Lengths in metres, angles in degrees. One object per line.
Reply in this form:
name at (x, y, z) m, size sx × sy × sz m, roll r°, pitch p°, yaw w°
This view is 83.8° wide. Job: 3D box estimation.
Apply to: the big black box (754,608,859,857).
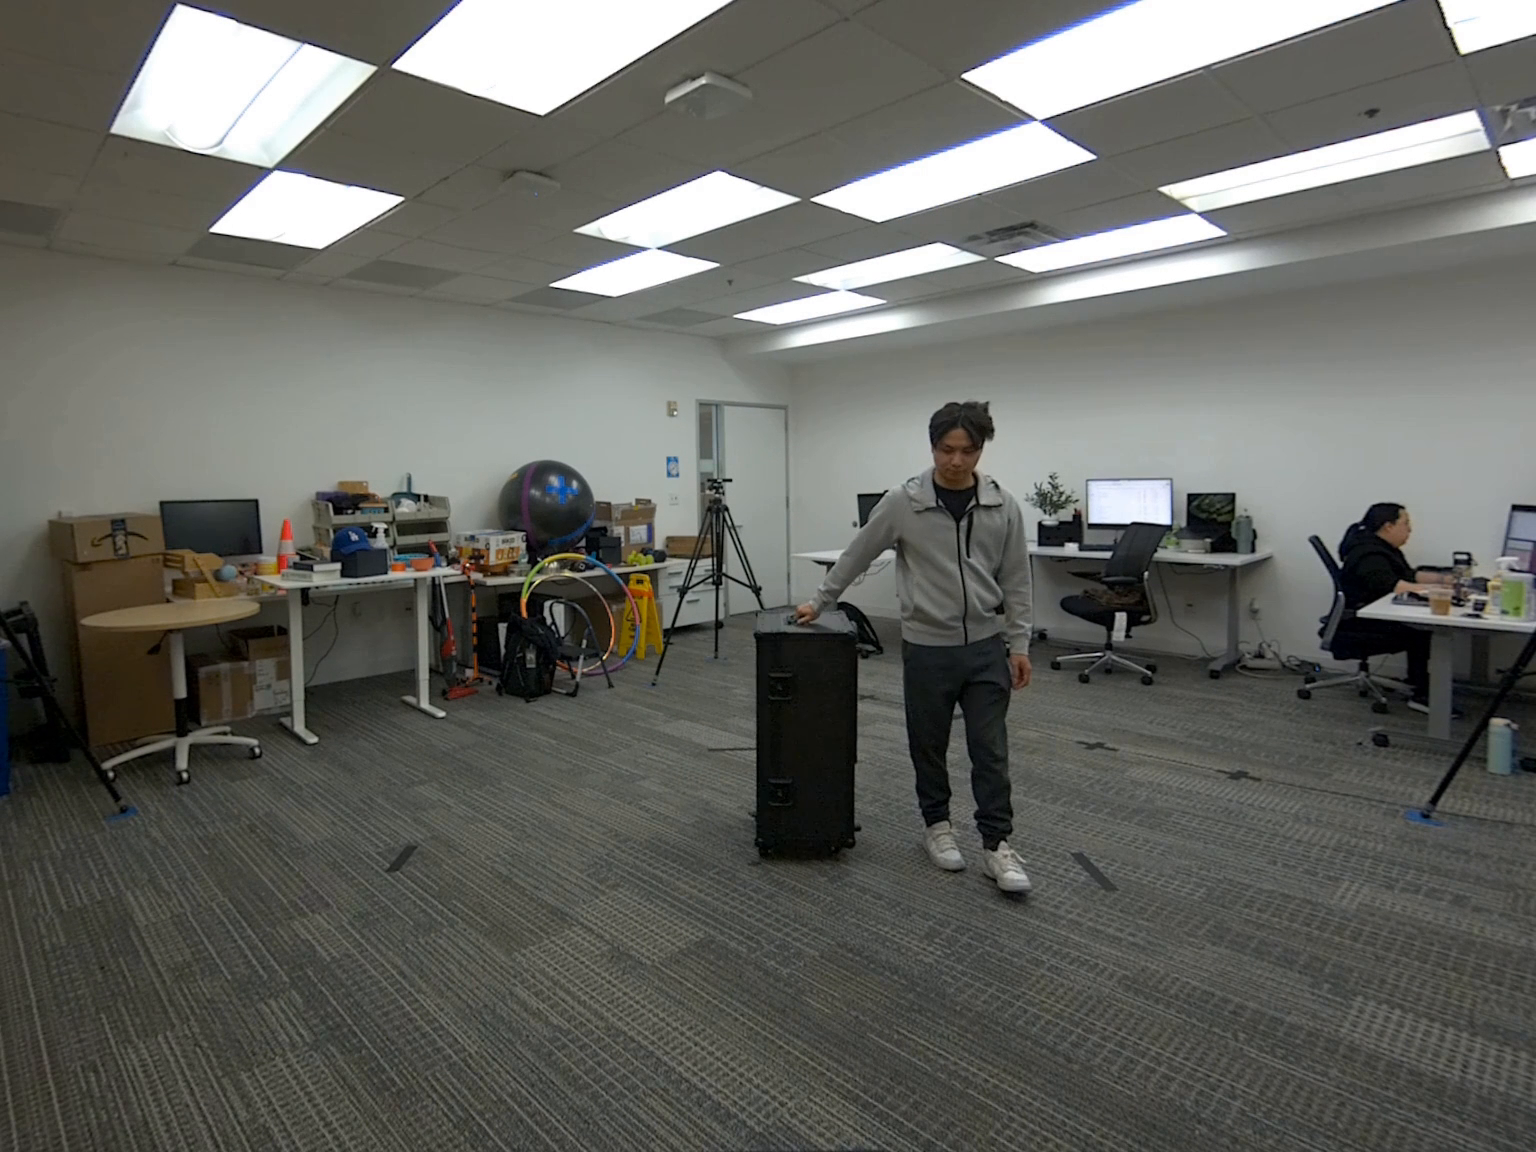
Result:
big black box at (0.149, 0.596, 3.293) m, size 0.398 × 0.858 × 0.521 m, roll 1°, pitch 5°, yaw 3°
